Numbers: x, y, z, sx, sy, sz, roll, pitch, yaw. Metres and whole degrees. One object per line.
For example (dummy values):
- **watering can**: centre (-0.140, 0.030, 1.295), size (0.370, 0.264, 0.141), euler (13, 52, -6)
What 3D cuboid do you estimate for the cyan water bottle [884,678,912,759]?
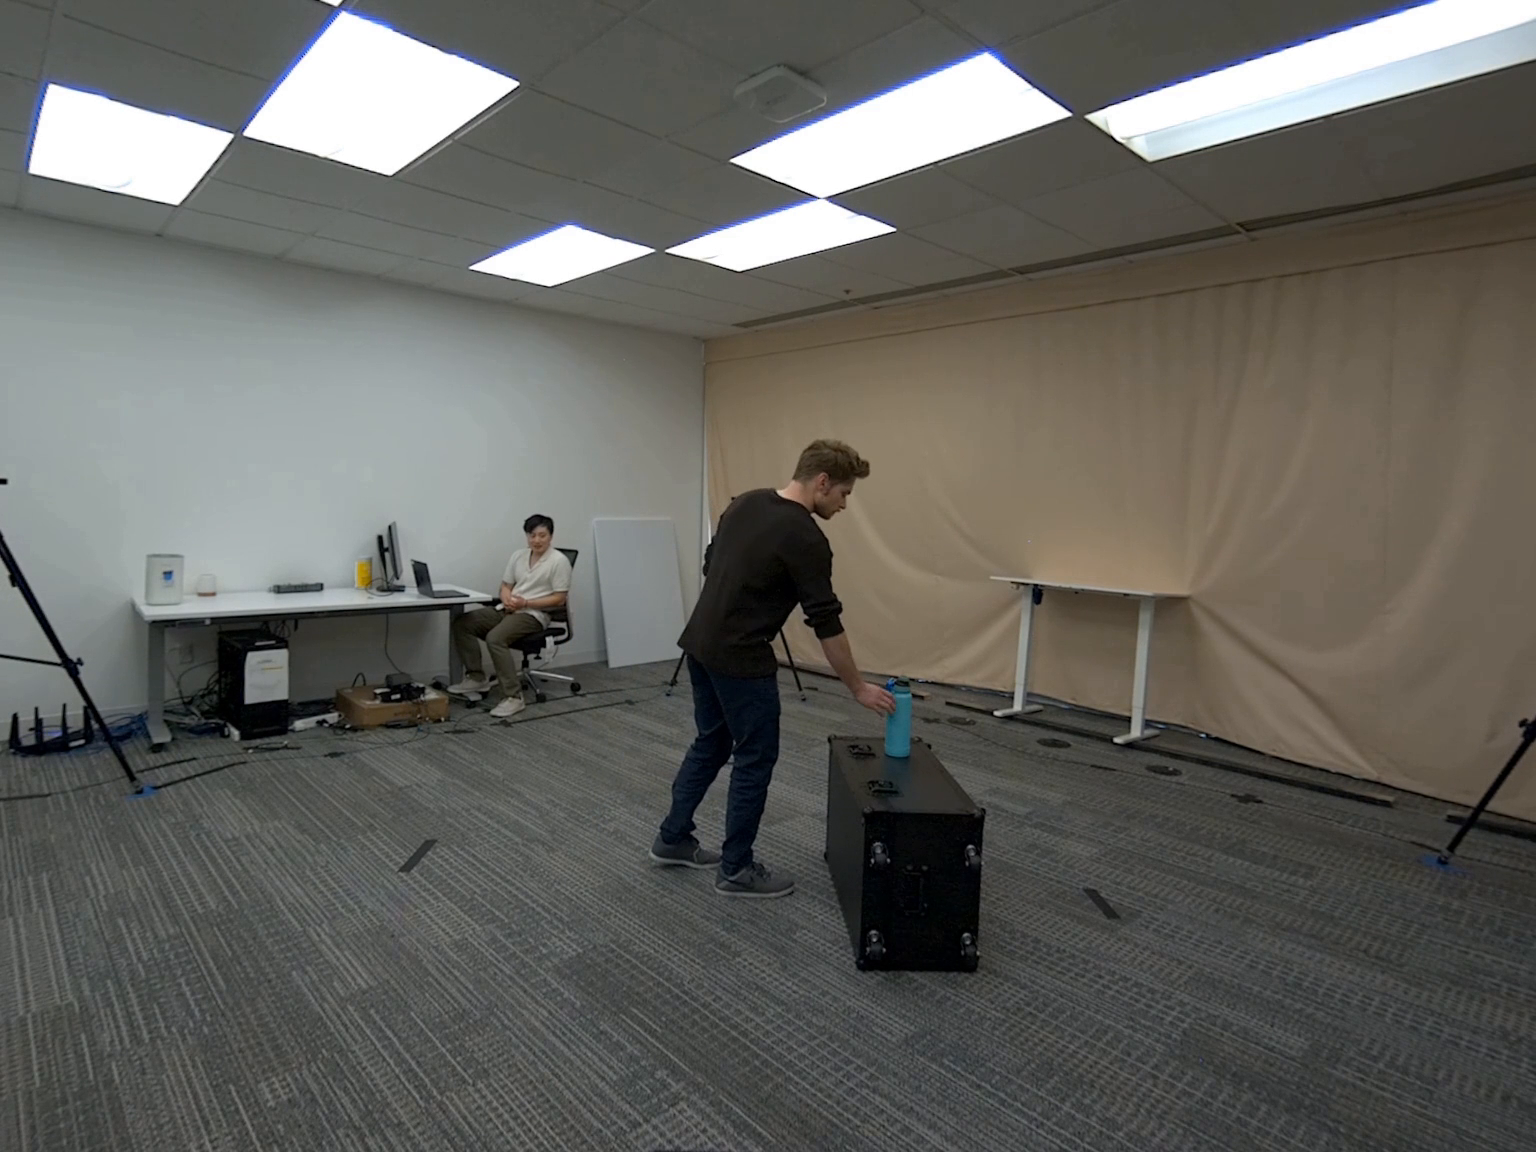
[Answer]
- **cyan water bottle**: centre (0.466, 0.501, 3.038), size (0.092, 0.282, 0.093), euler (2, 4, -2)
